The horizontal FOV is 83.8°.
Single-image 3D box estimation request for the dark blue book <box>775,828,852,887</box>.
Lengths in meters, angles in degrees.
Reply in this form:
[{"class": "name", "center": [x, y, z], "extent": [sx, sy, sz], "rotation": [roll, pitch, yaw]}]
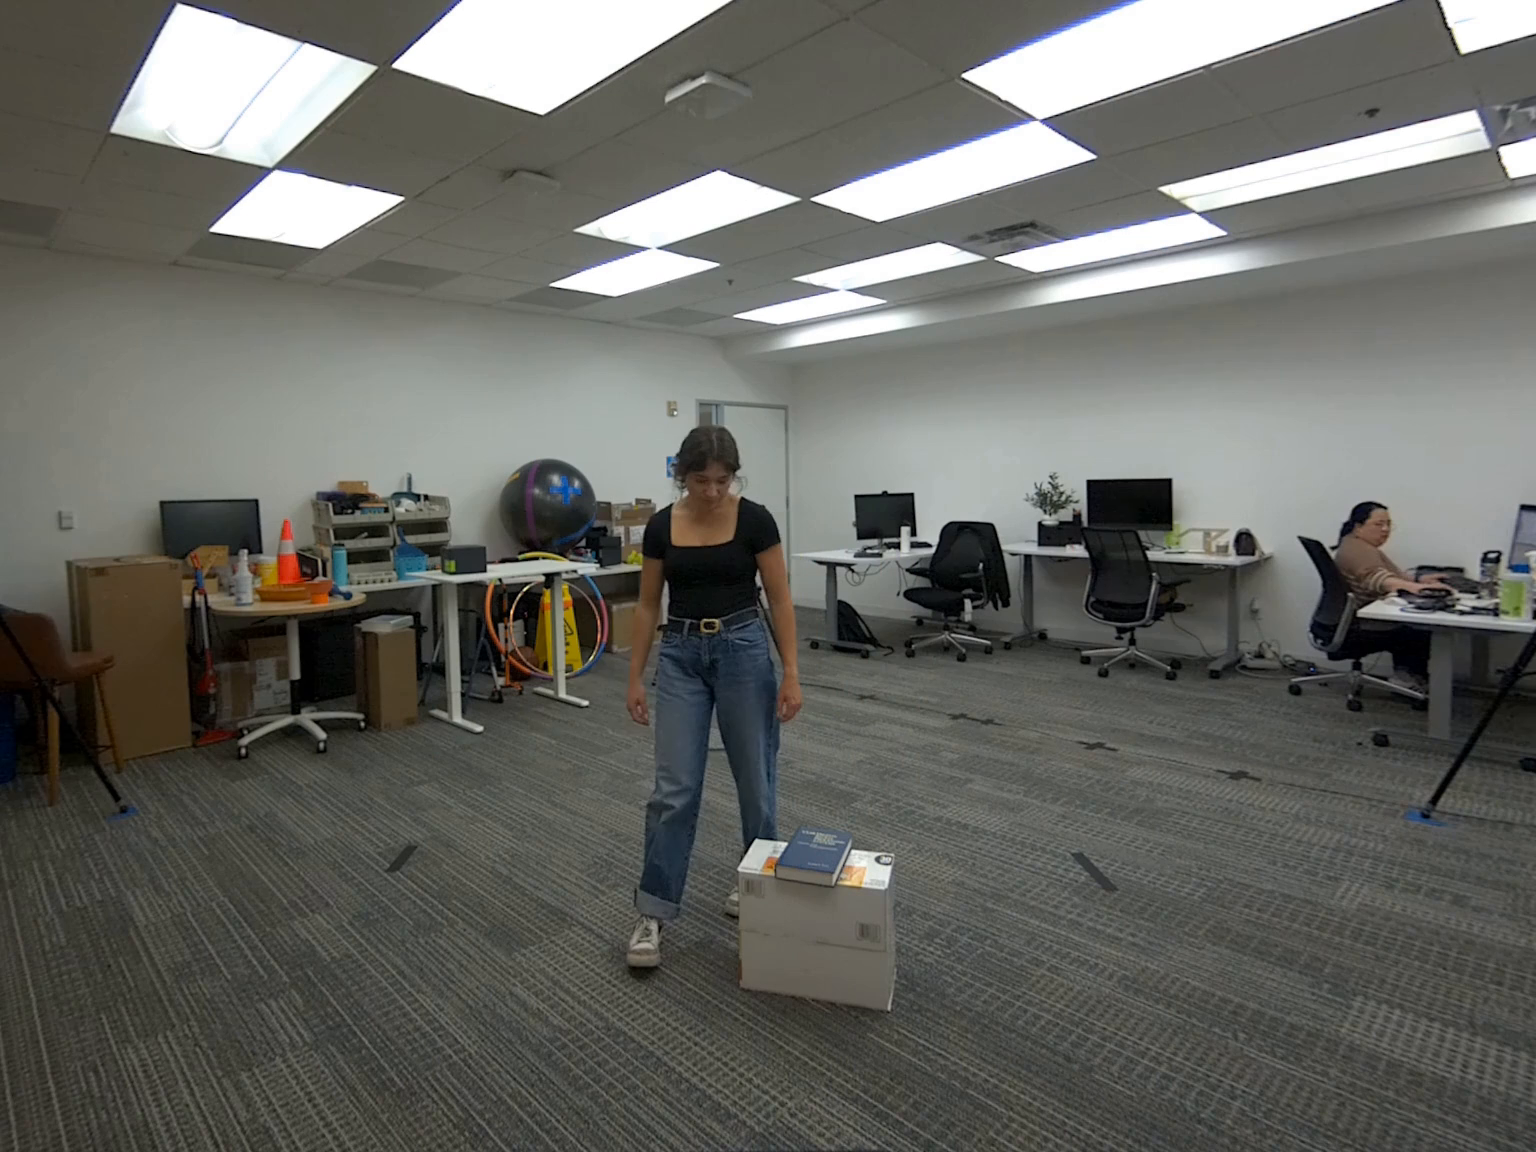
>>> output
[{"class": "dark blue book", "center": [0.139, 0.772, 2.353], "extent": [0.166, 0.045, 0.242], "rotation": [1, 8, 16]}]
